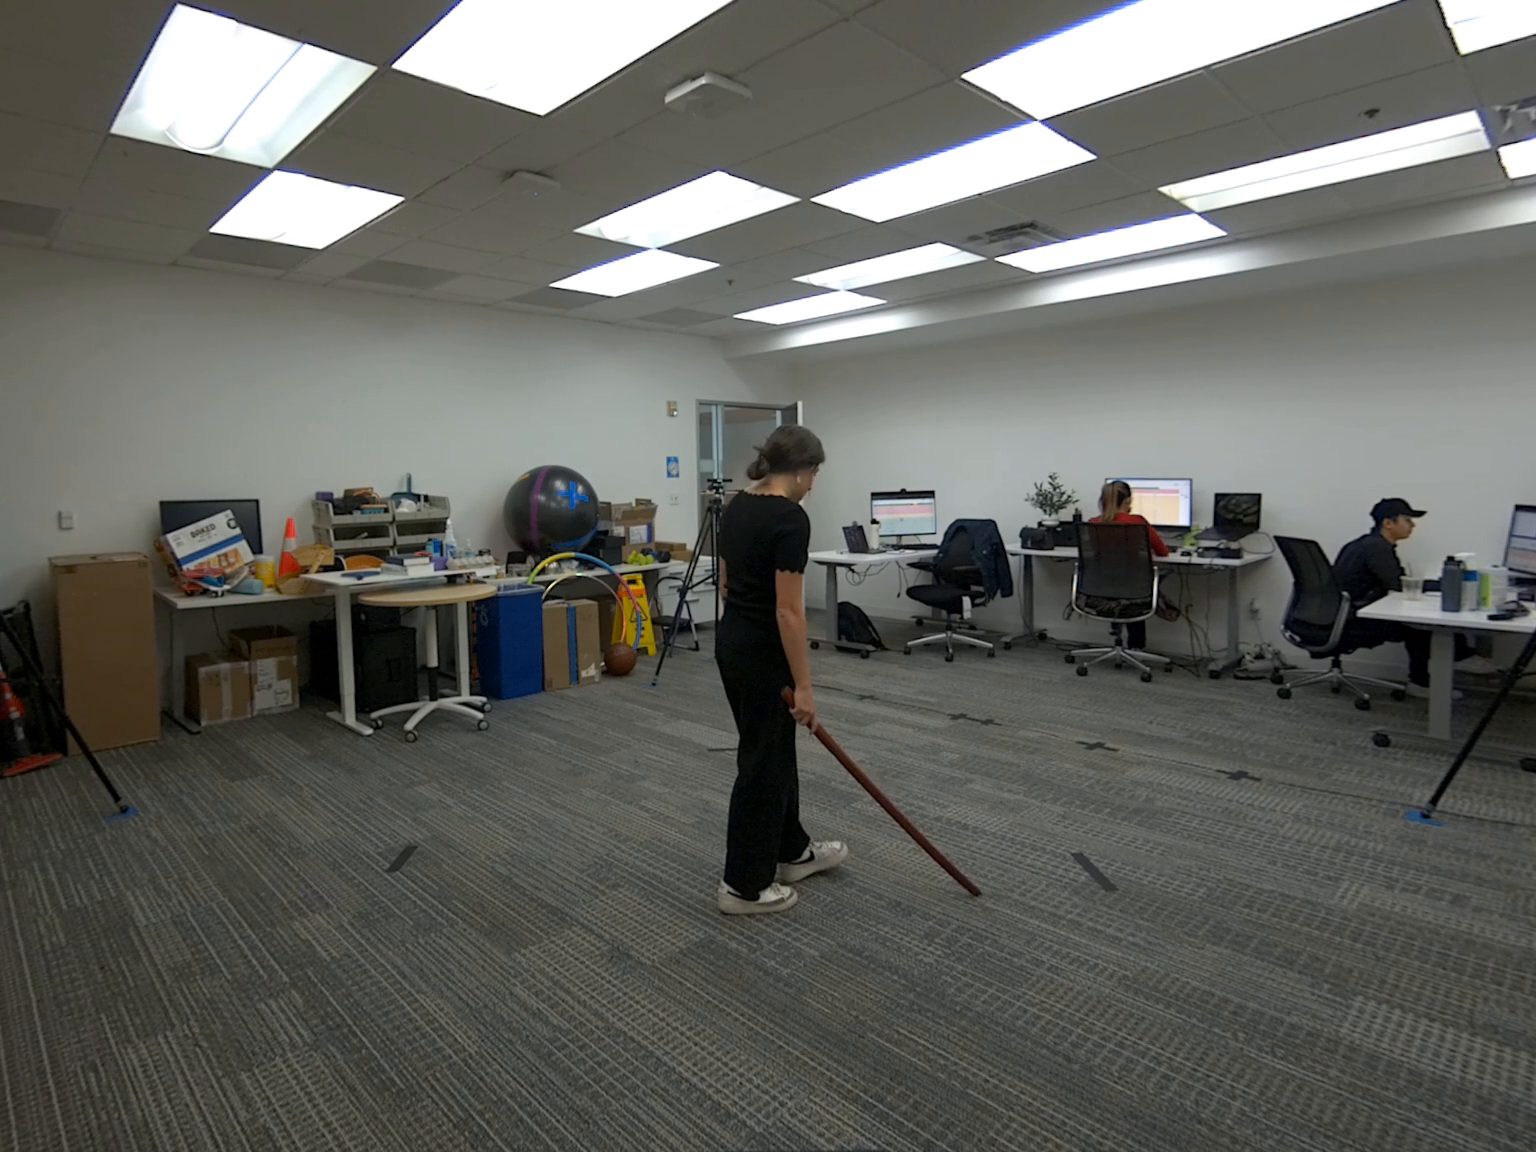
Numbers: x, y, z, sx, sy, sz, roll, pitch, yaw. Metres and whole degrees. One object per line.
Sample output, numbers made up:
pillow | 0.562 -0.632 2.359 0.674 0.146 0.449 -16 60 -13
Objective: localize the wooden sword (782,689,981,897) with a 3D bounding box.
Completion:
wooden sword | 0.369 0.703 2.722 0.052 1.003 0.024 -31 20 34
